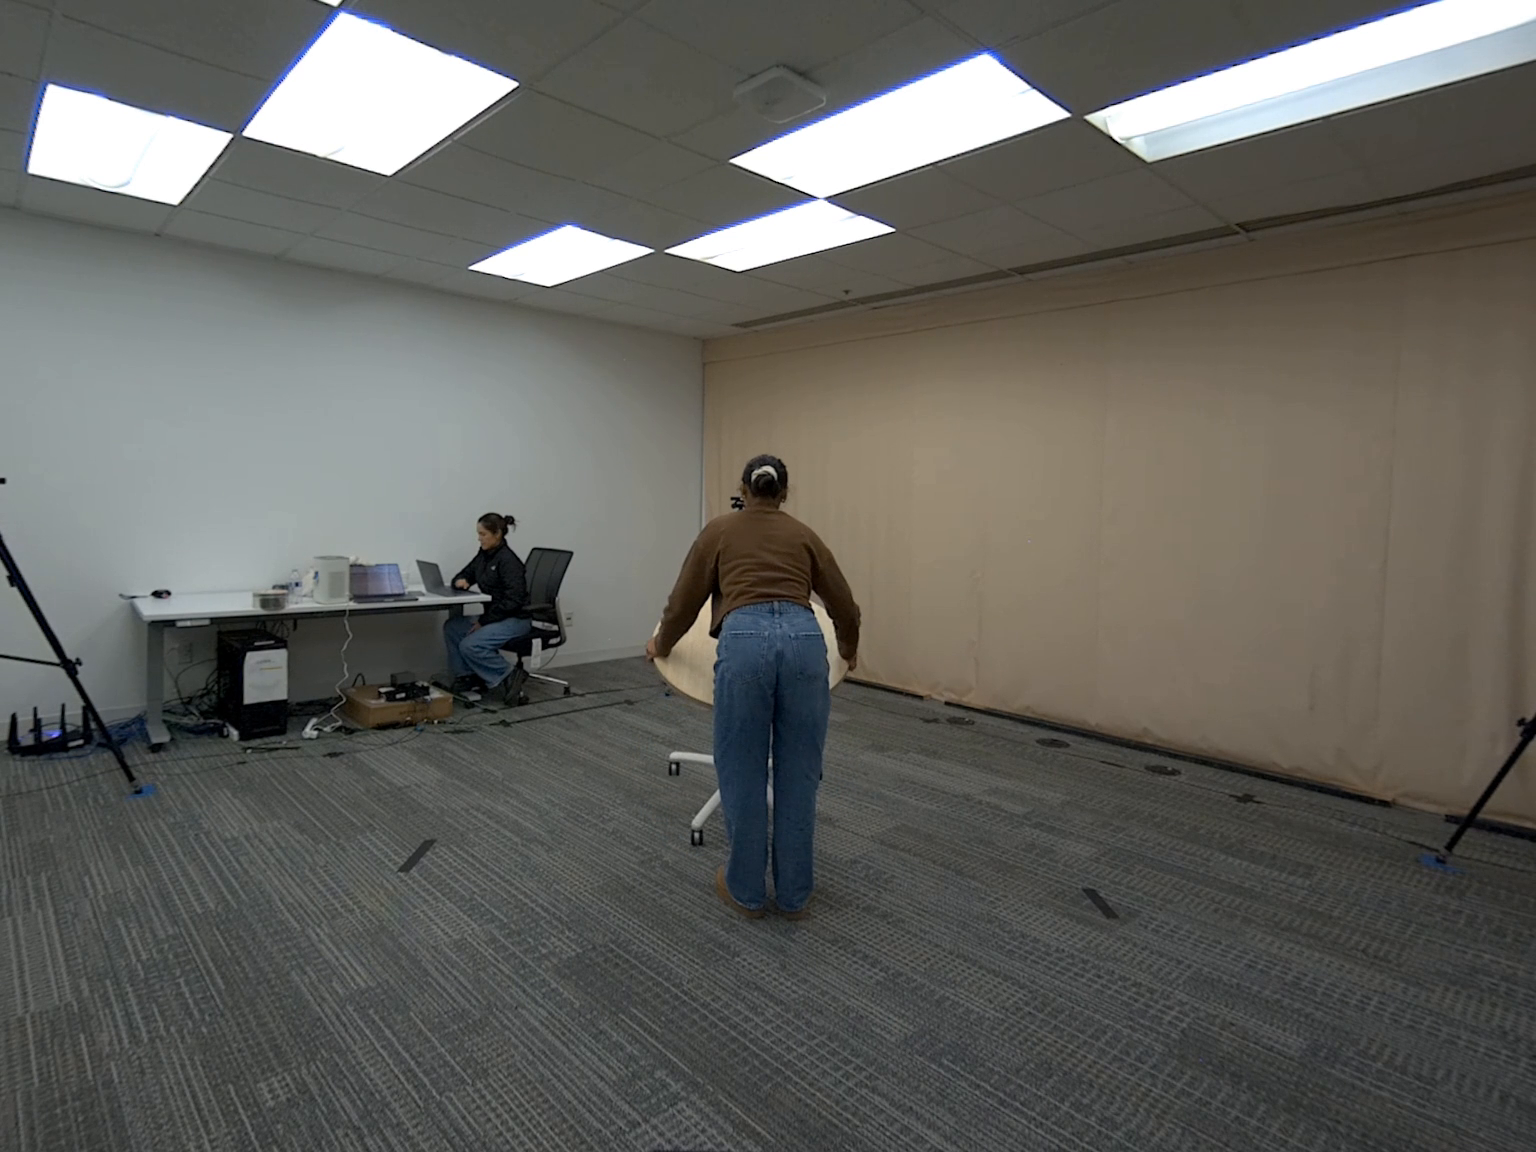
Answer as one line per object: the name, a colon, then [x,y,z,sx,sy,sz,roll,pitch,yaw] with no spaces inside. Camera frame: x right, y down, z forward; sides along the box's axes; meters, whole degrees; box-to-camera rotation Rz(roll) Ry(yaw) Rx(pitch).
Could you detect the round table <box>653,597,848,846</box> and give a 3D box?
round table: [-0.080,0.598,3.443,0.763,0.779,0.779,1,31,-2]
